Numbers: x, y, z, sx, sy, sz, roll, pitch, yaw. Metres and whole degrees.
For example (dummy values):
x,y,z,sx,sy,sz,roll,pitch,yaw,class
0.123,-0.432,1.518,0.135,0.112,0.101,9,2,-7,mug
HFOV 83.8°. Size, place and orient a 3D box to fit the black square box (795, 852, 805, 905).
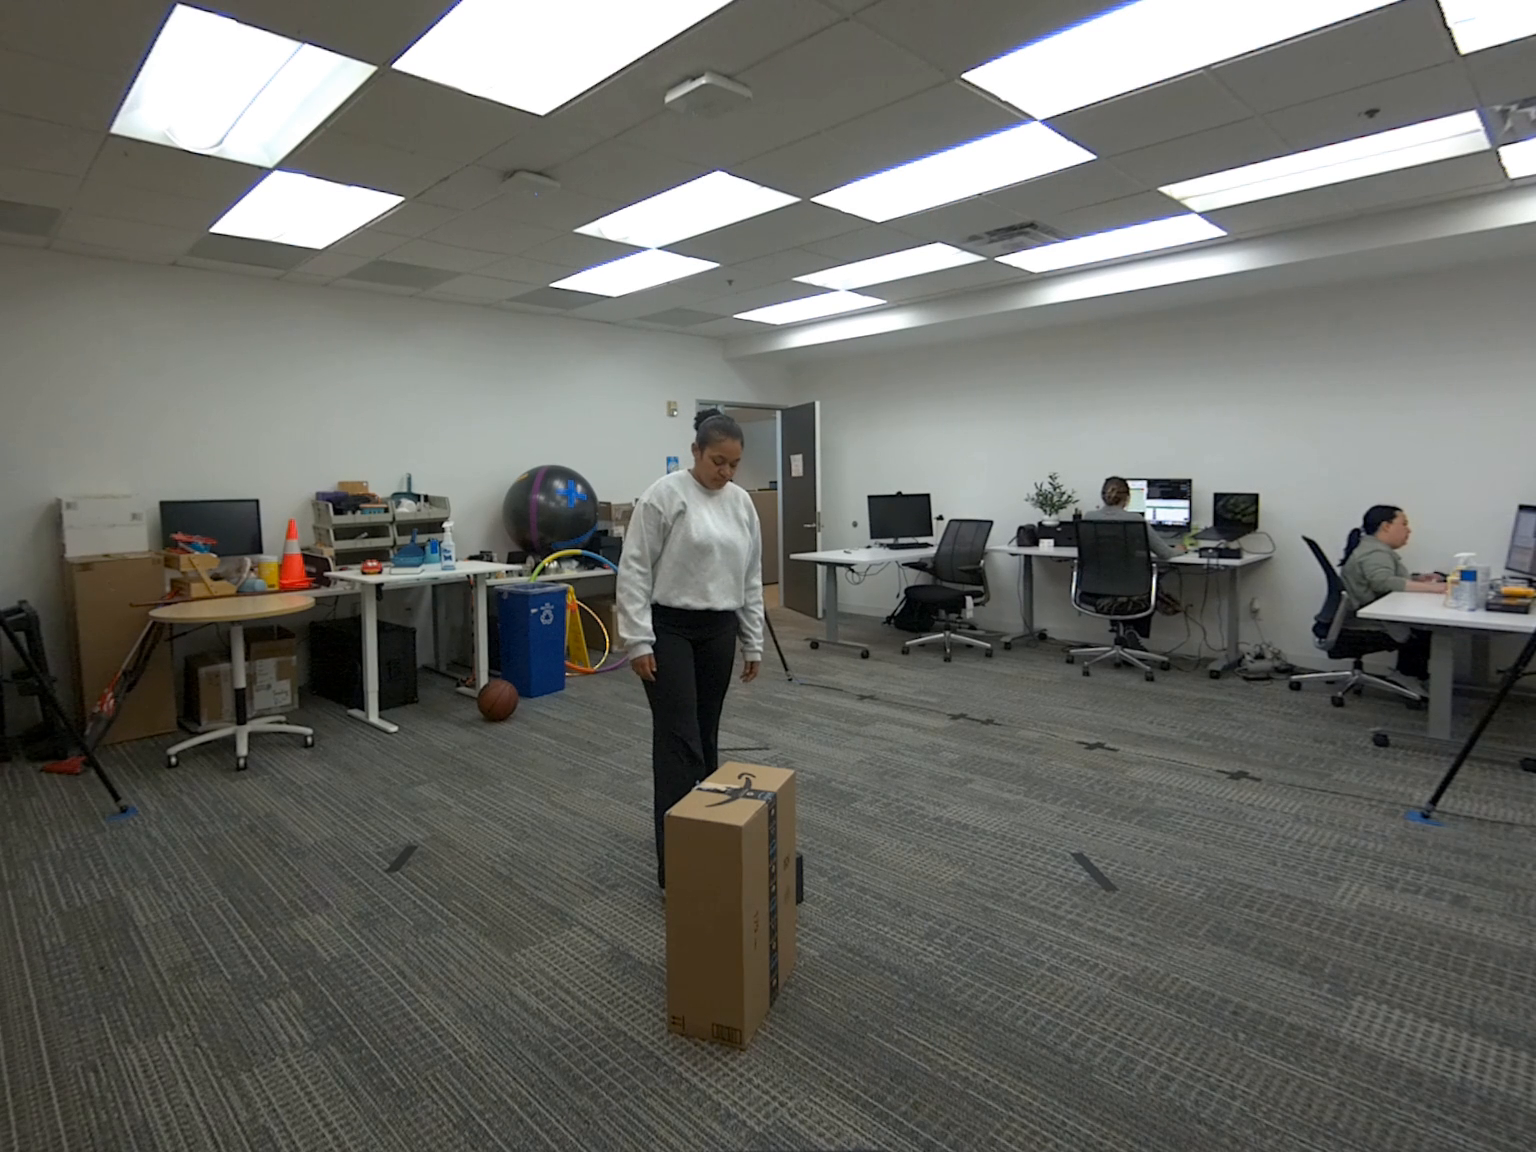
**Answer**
x,y,z,sx,sy,sz,roll,pitch,yaw,class
-0.028,0.996,2.833,0.222,0.155,0.224,-6,8,-39,black square box
